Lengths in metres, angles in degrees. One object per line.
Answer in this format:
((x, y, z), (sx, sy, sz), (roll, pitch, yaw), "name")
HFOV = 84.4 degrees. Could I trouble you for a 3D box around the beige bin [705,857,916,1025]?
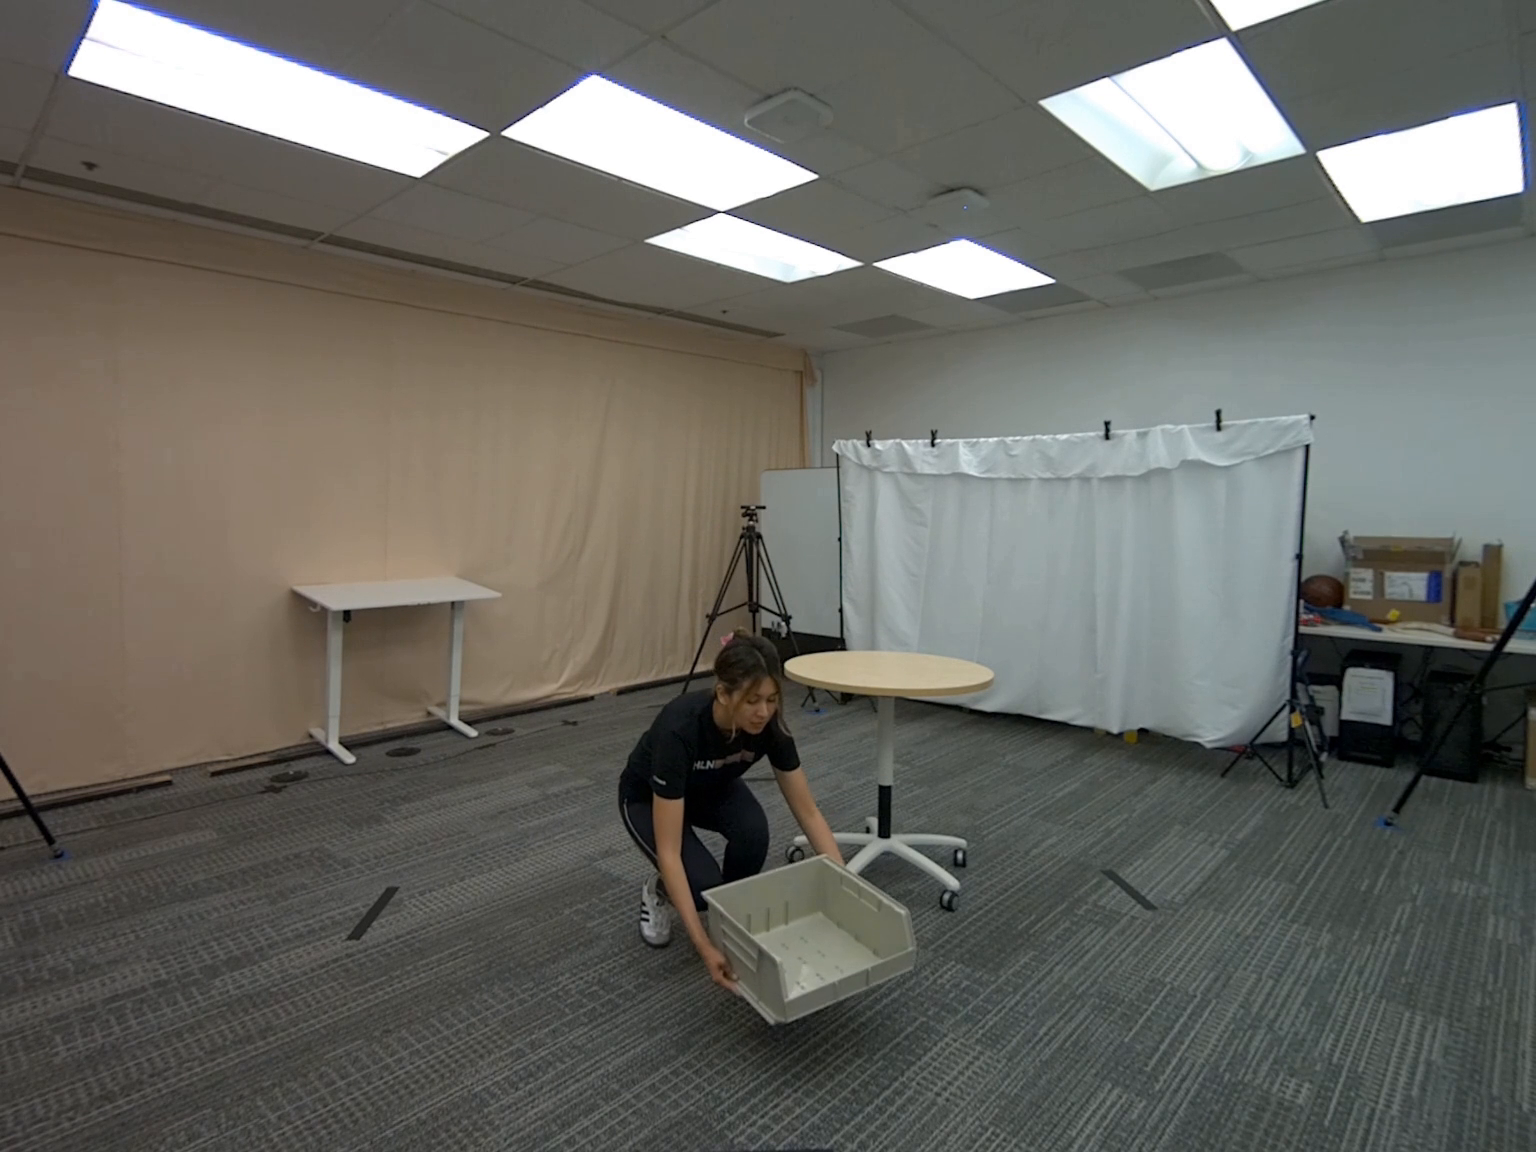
((0.111, 0.941, 2.191), (0.411, 0.188, 0.389), (-5, 9, -33), "beige bin")
